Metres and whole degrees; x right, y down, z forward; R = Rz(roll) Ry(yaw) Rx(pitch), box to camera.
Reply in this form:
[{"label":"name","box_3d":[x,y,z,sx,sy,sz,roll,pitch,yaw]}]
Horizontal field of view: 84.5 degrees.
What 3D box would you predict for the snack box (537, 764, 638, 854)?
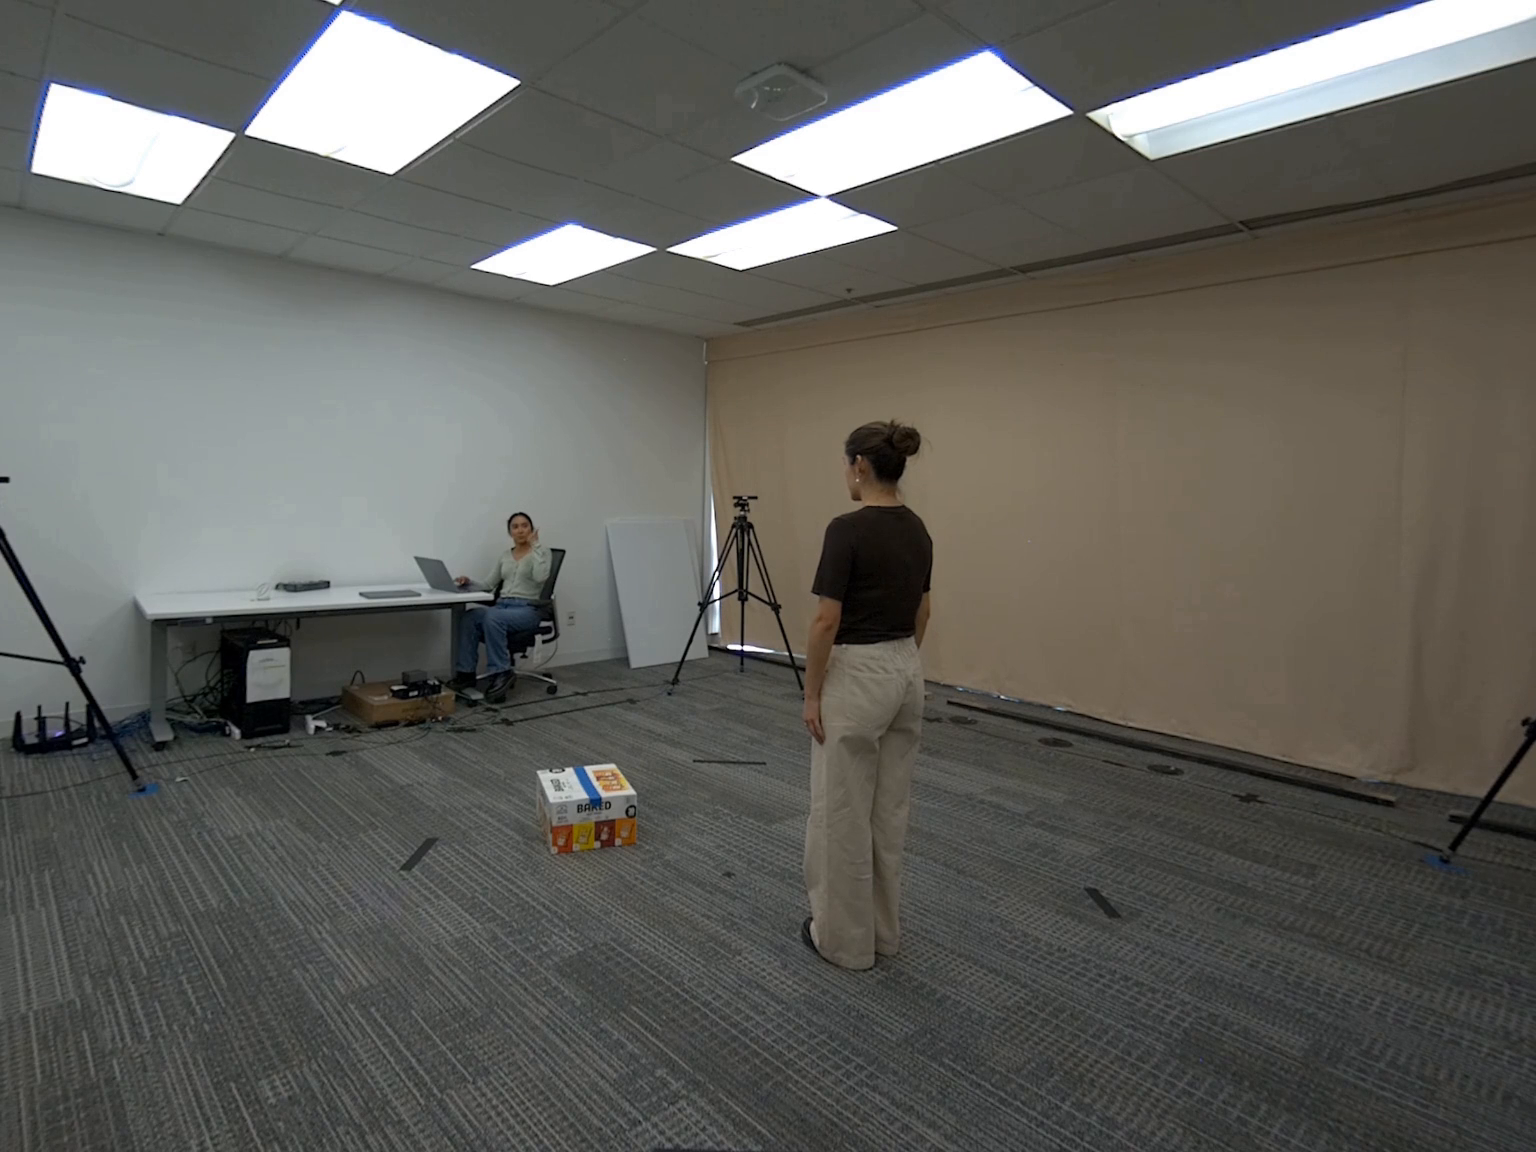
[{"label":"snack box","box_3d":[-0.769,0.953,3.484,0.335,0.205,0.413,0,5,-22]}]
